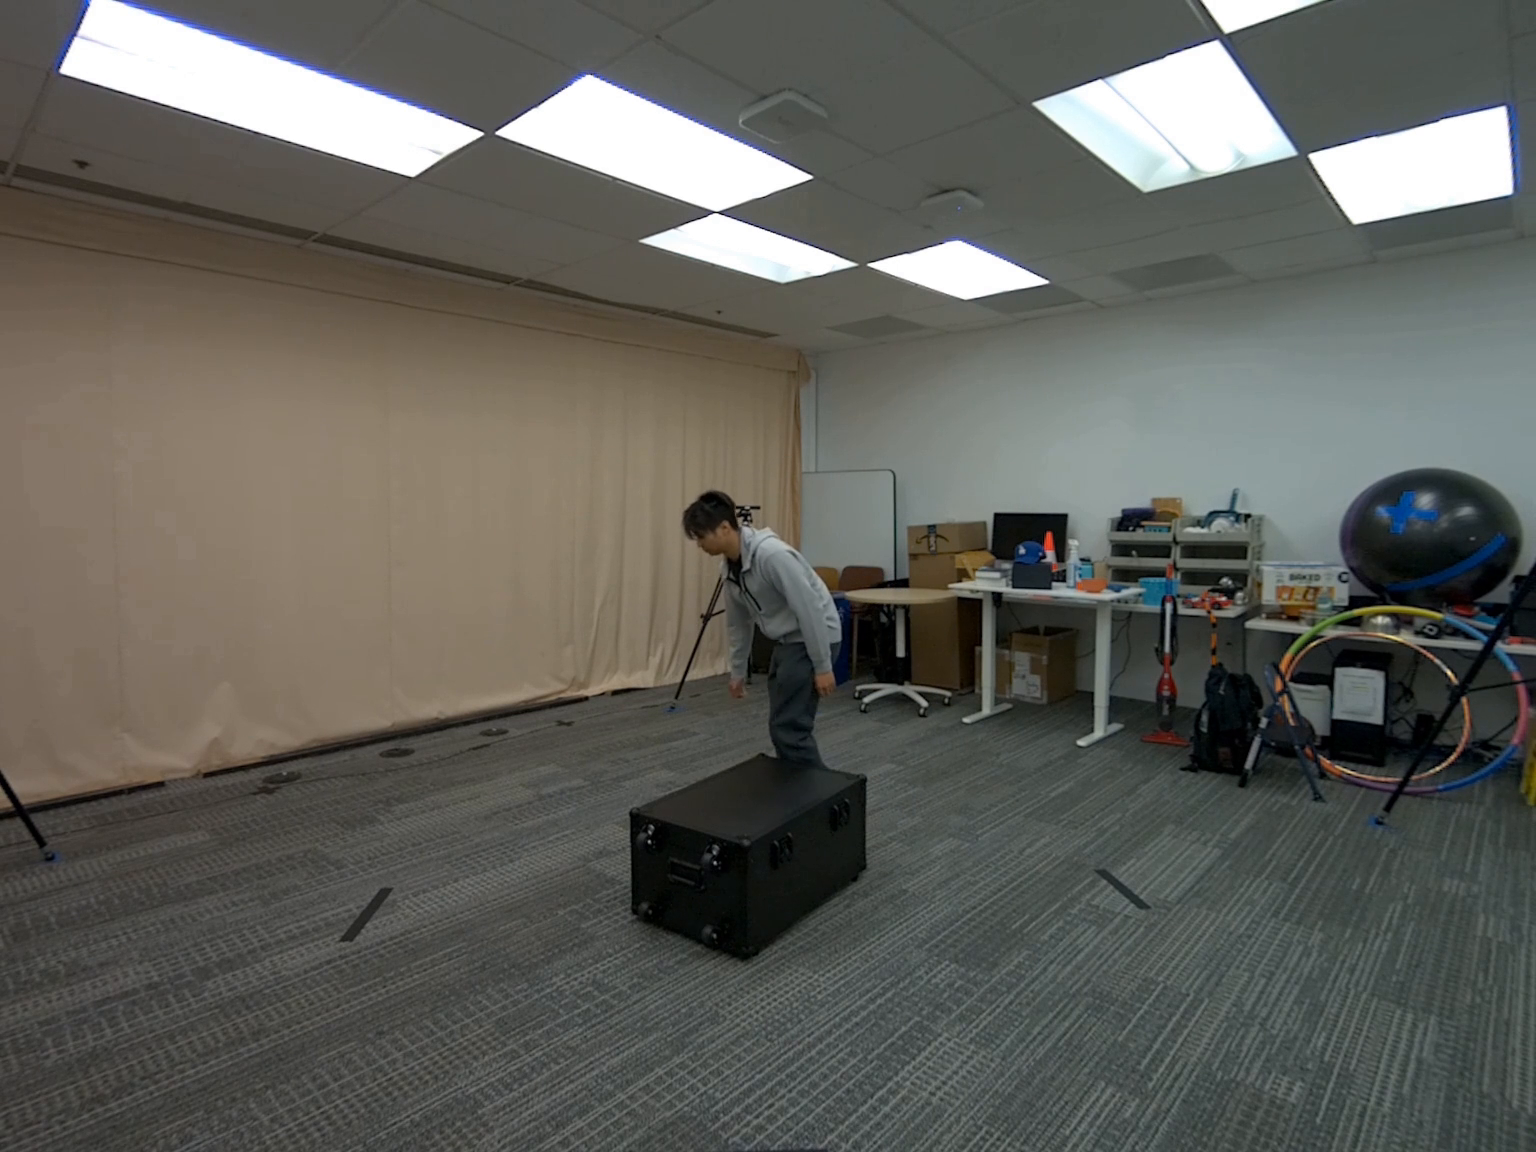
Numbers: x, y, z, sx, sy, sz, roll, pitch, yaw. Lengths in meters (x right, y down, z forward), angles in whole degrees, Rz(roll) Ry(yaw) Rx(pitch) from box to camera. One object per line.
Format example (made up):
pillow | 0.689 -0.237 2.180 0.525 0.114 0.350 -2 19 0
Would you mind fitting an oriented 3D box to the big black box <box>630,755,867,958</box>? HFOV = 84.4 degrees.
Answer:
big black box | -0.025 0.950 3.013 0.538 0.395 0.837 3 6 35
